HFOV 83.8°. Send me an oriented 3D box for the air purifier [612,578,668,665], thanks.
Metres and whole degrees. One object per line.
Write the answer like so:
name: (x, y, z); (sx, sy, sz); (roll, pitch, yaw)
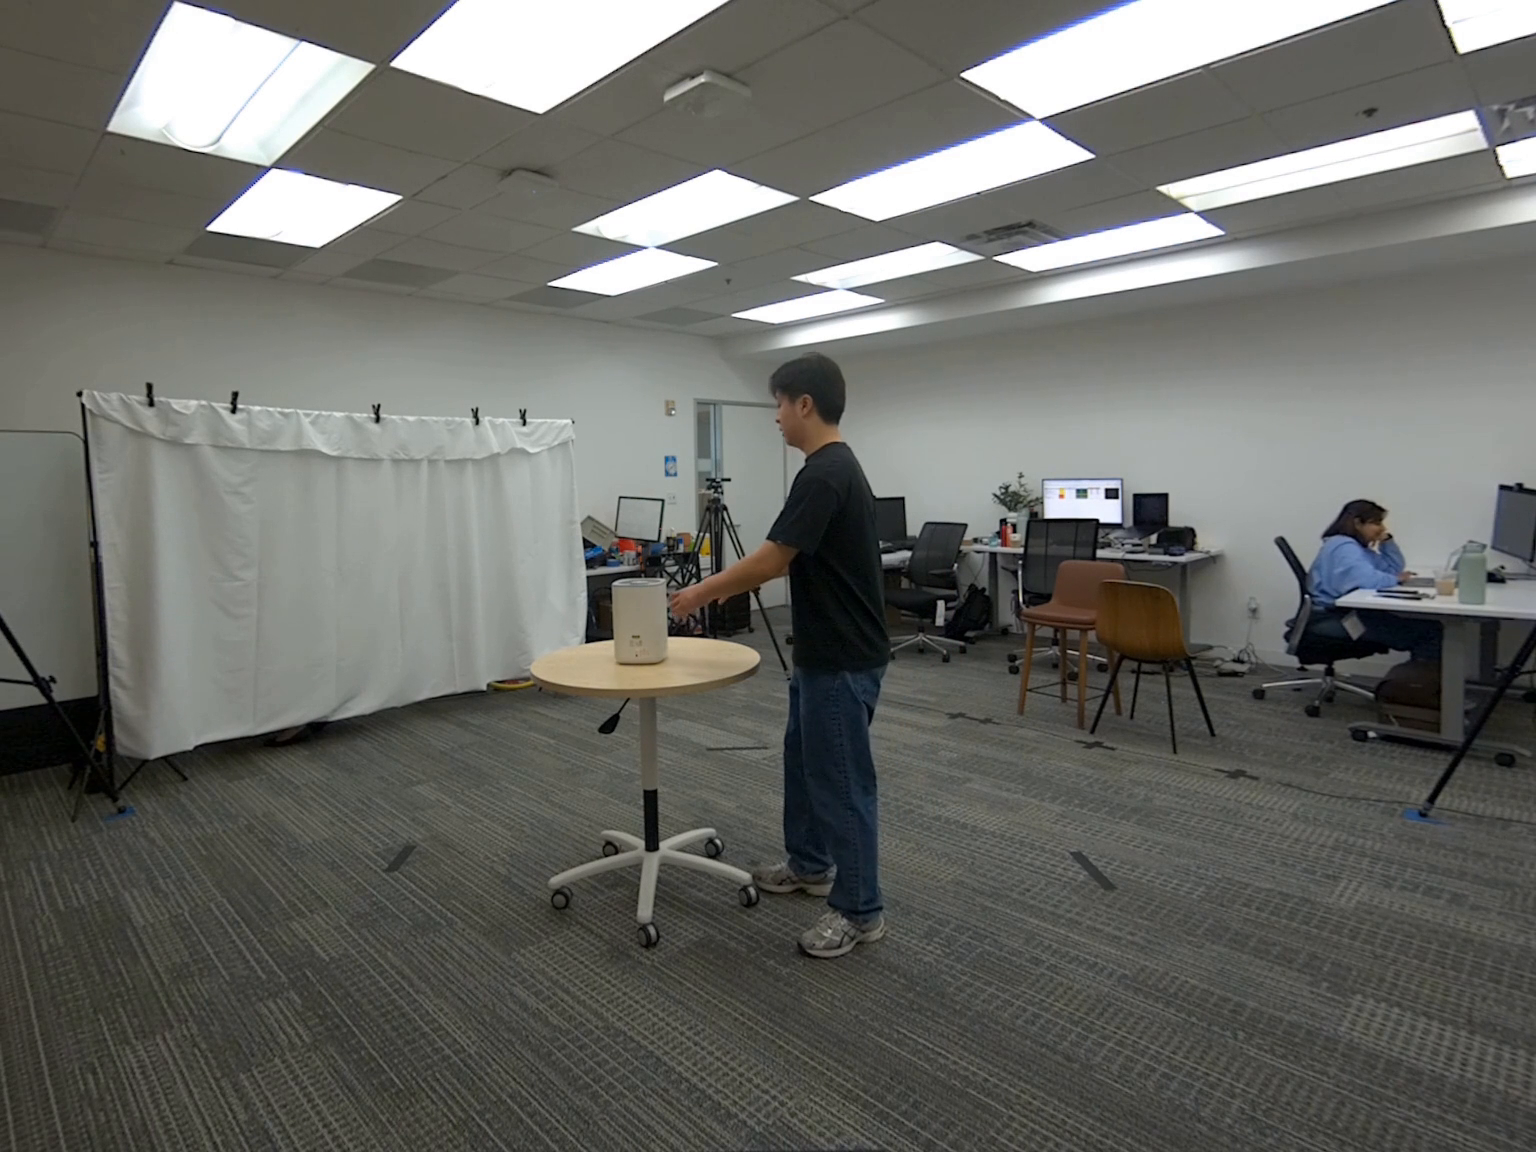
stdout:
air purifier: (-0.419, 0.150, 2.849); (0.172, 0.264, 0.172); (0, 5, 4)
